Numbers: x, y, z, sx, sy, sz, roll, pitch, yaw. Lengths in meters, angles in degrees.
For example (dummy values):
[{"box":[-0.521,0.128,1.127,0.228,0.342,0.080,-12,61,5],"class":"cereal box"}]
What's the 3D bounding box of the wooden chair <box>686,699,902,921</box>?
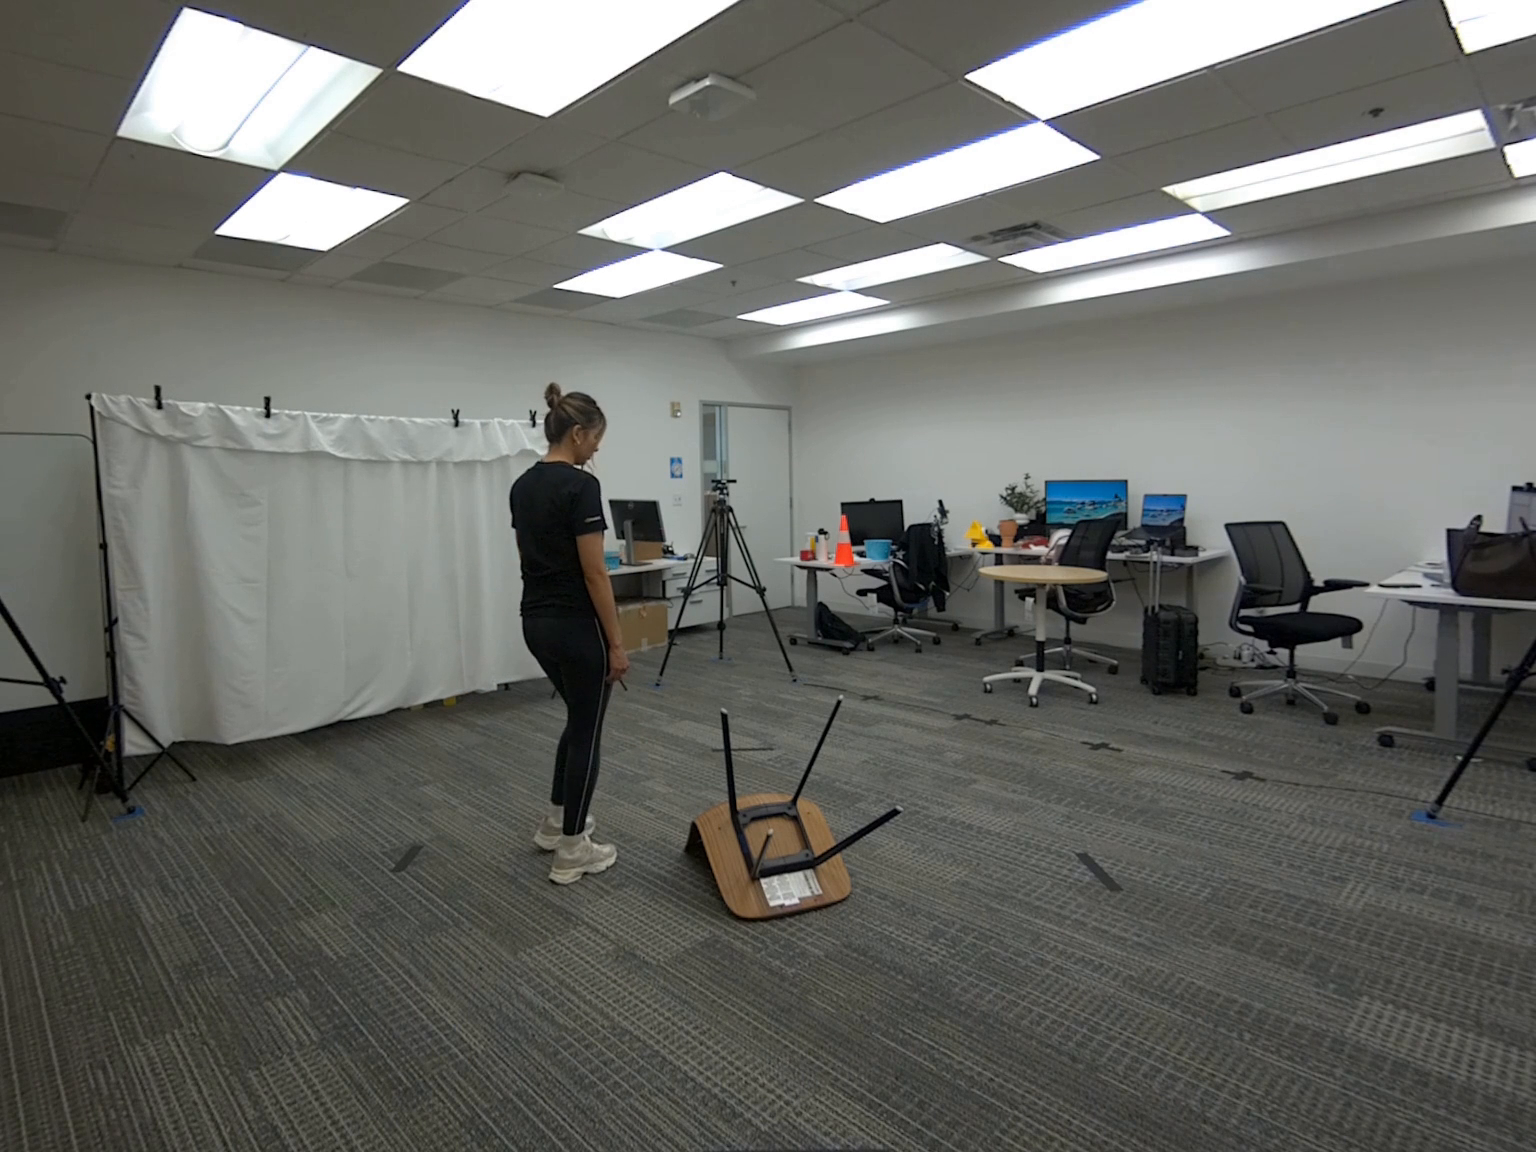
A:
[{"box":[0.023,0.895,2.913,0.468,0.864,0.542,-2,46,-25],"class":"wooden chair"}]
